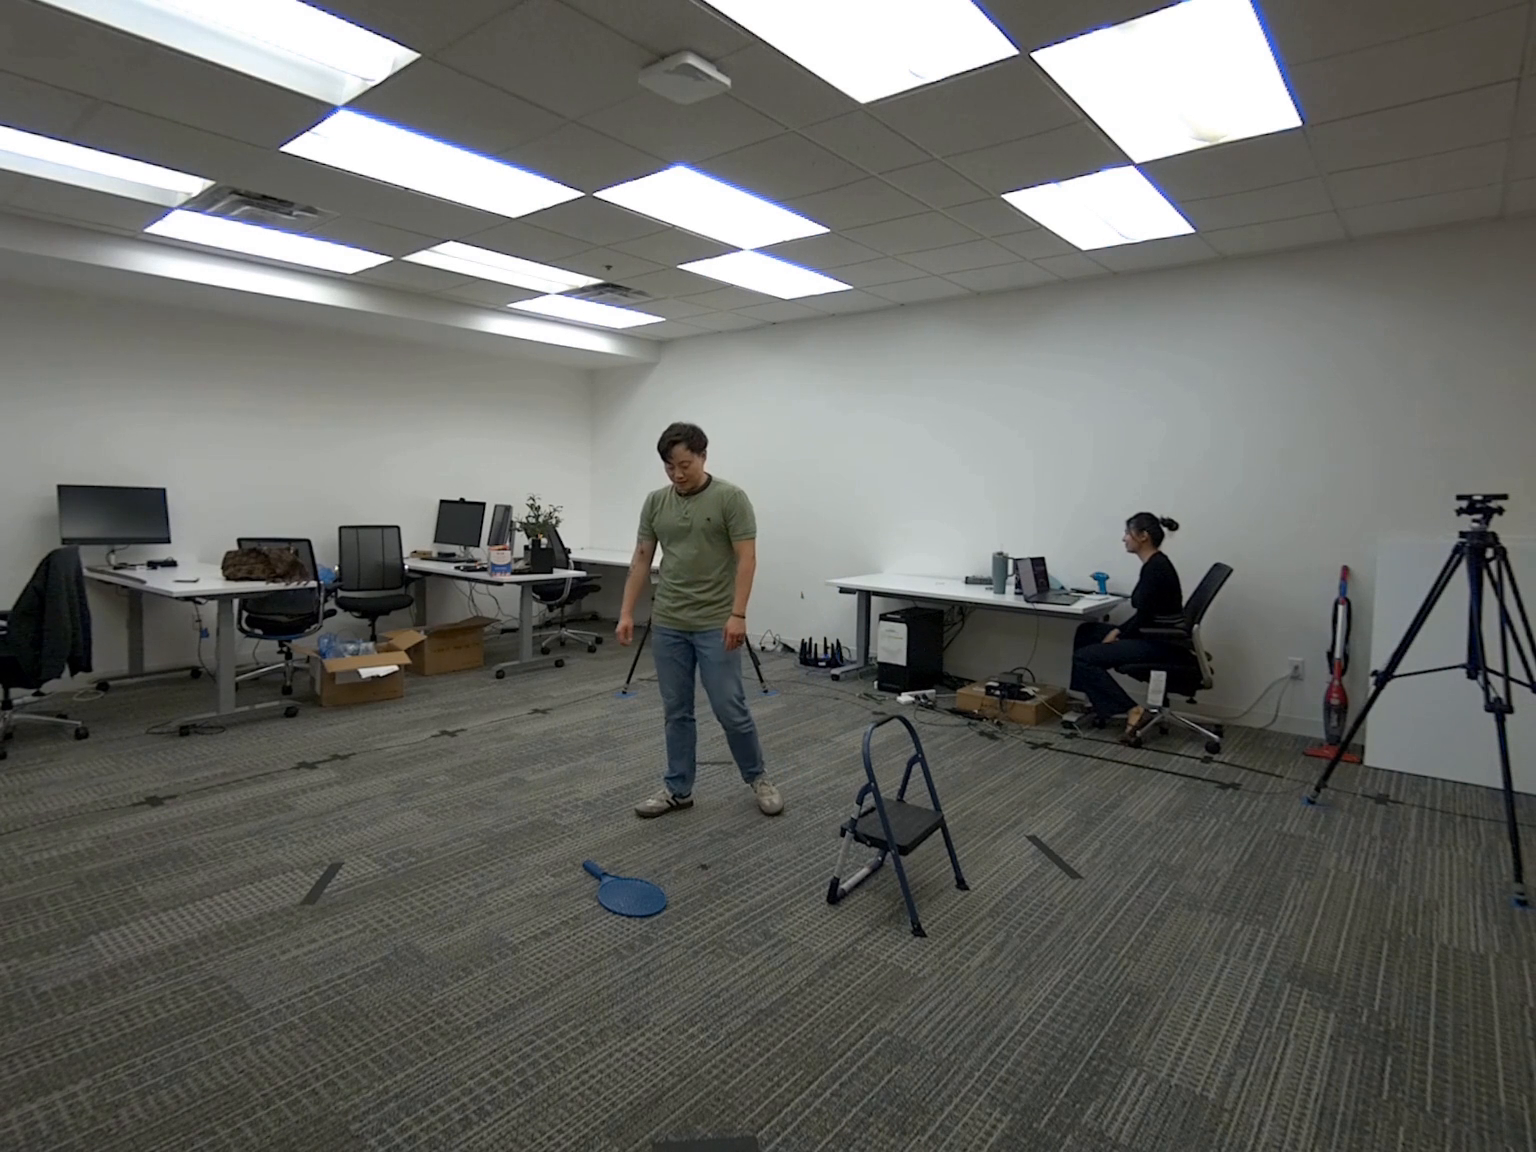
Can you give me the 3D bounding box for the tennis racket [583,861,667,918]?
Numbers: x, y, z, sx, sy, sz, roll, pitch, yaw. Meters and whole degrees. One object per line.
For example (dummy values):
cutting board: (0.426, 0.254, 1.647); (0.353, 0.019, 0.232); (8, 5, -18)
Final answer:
tennis racket: (-0.523, 1.068, 2.919); (0.207, 0.031, 0.448); (-5, 9, -42)
